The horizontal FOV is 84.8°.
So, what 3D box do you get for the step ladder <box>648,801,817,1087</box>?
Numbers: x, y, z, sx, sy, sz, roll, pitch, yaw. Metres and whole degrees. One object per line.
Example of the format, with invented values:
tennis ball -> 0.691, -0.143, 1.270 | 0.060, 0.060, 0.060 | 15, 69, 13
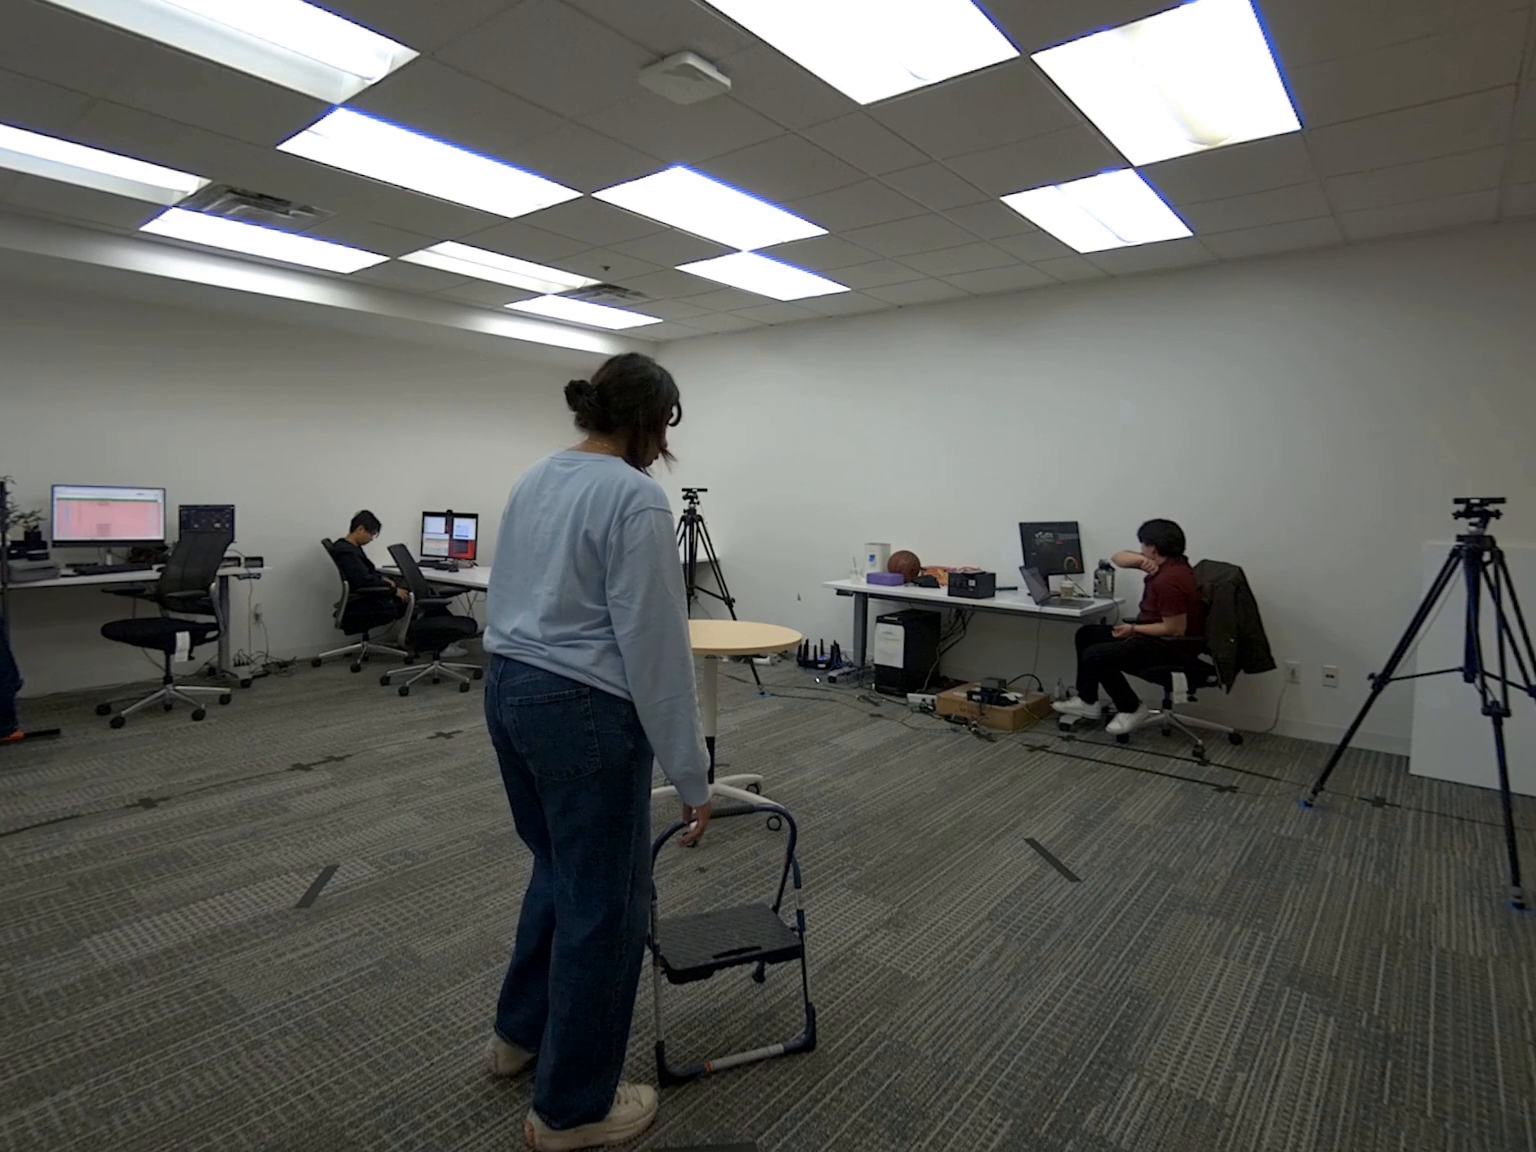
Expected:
step ladder -> -0.133, 0.860, 2.189 | 0.421, 0.604, 0.359 | -1, 5, -24
